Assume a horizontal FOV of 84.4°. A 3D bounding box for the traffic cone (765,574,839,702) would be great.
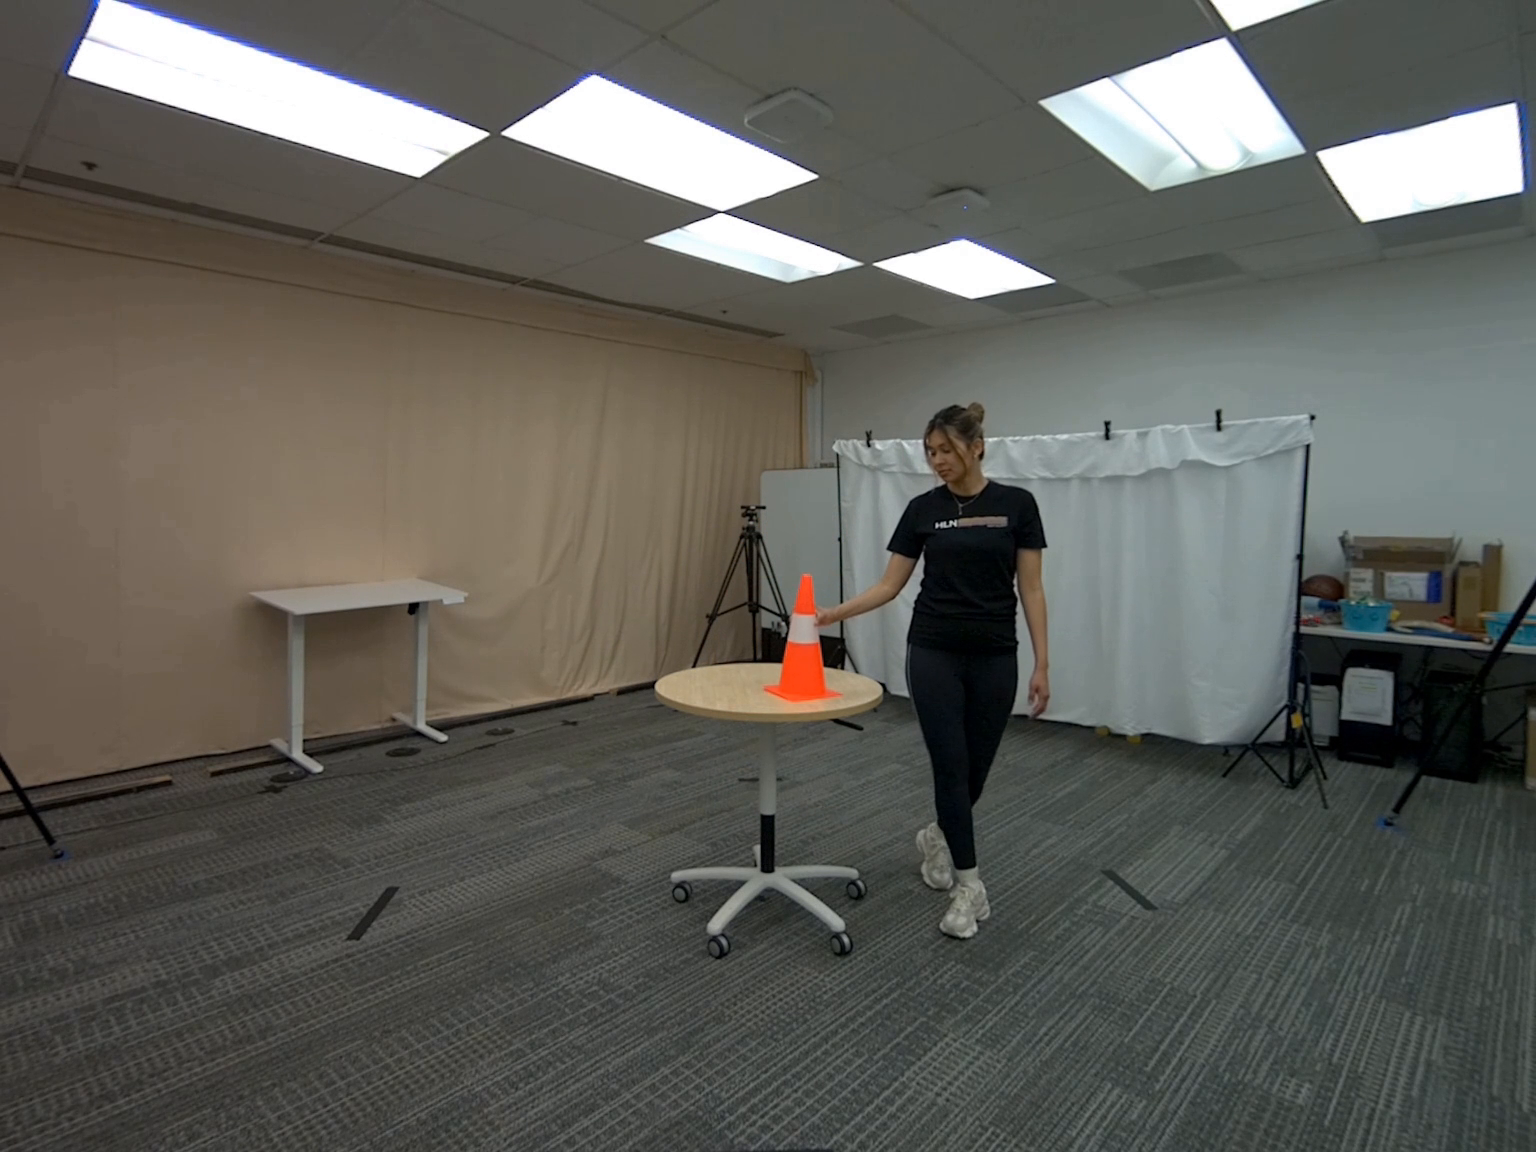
[{"bbox_3d":[0.128,0.191,2.735,0.210,0.383,0.199,5,5,32],"label":"traffic cone"}]
